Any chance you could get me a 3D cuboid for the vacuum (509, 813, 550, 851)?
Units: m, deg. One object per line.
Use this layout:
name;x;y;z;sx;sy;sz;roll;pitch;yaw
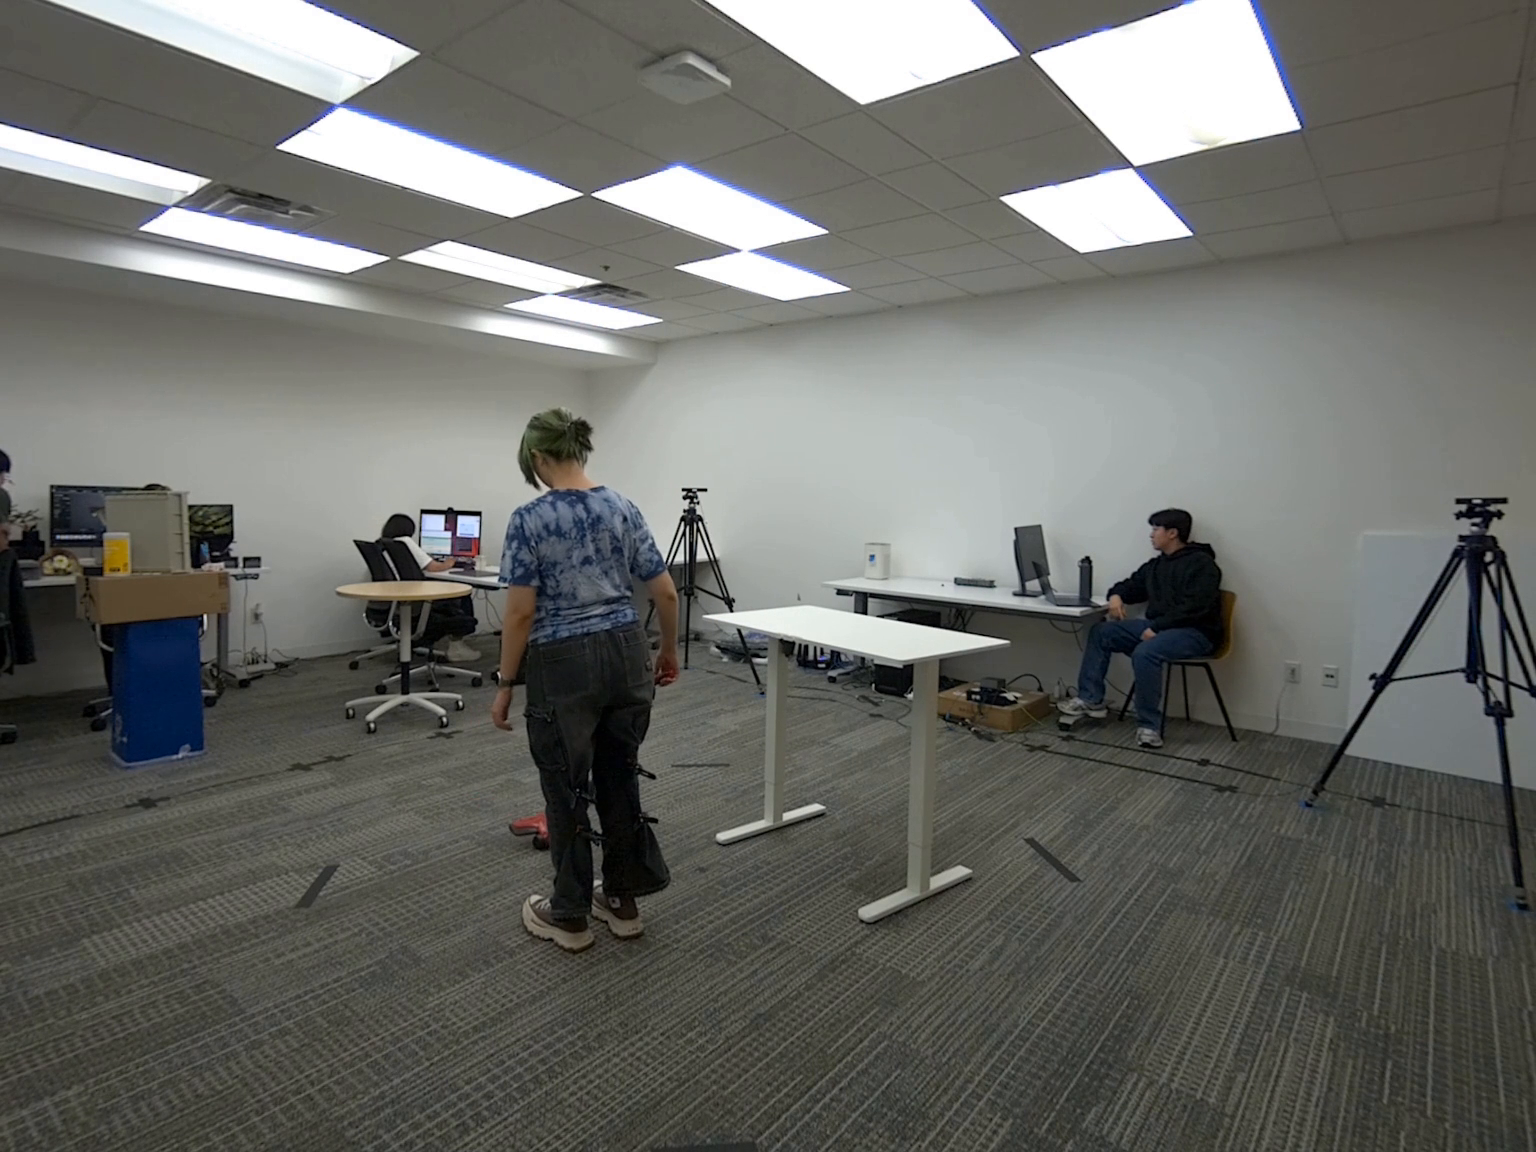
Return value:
vacuum;-0.614;0.676;3.057;0.246;0.148;1.048;-10;-31;-51
